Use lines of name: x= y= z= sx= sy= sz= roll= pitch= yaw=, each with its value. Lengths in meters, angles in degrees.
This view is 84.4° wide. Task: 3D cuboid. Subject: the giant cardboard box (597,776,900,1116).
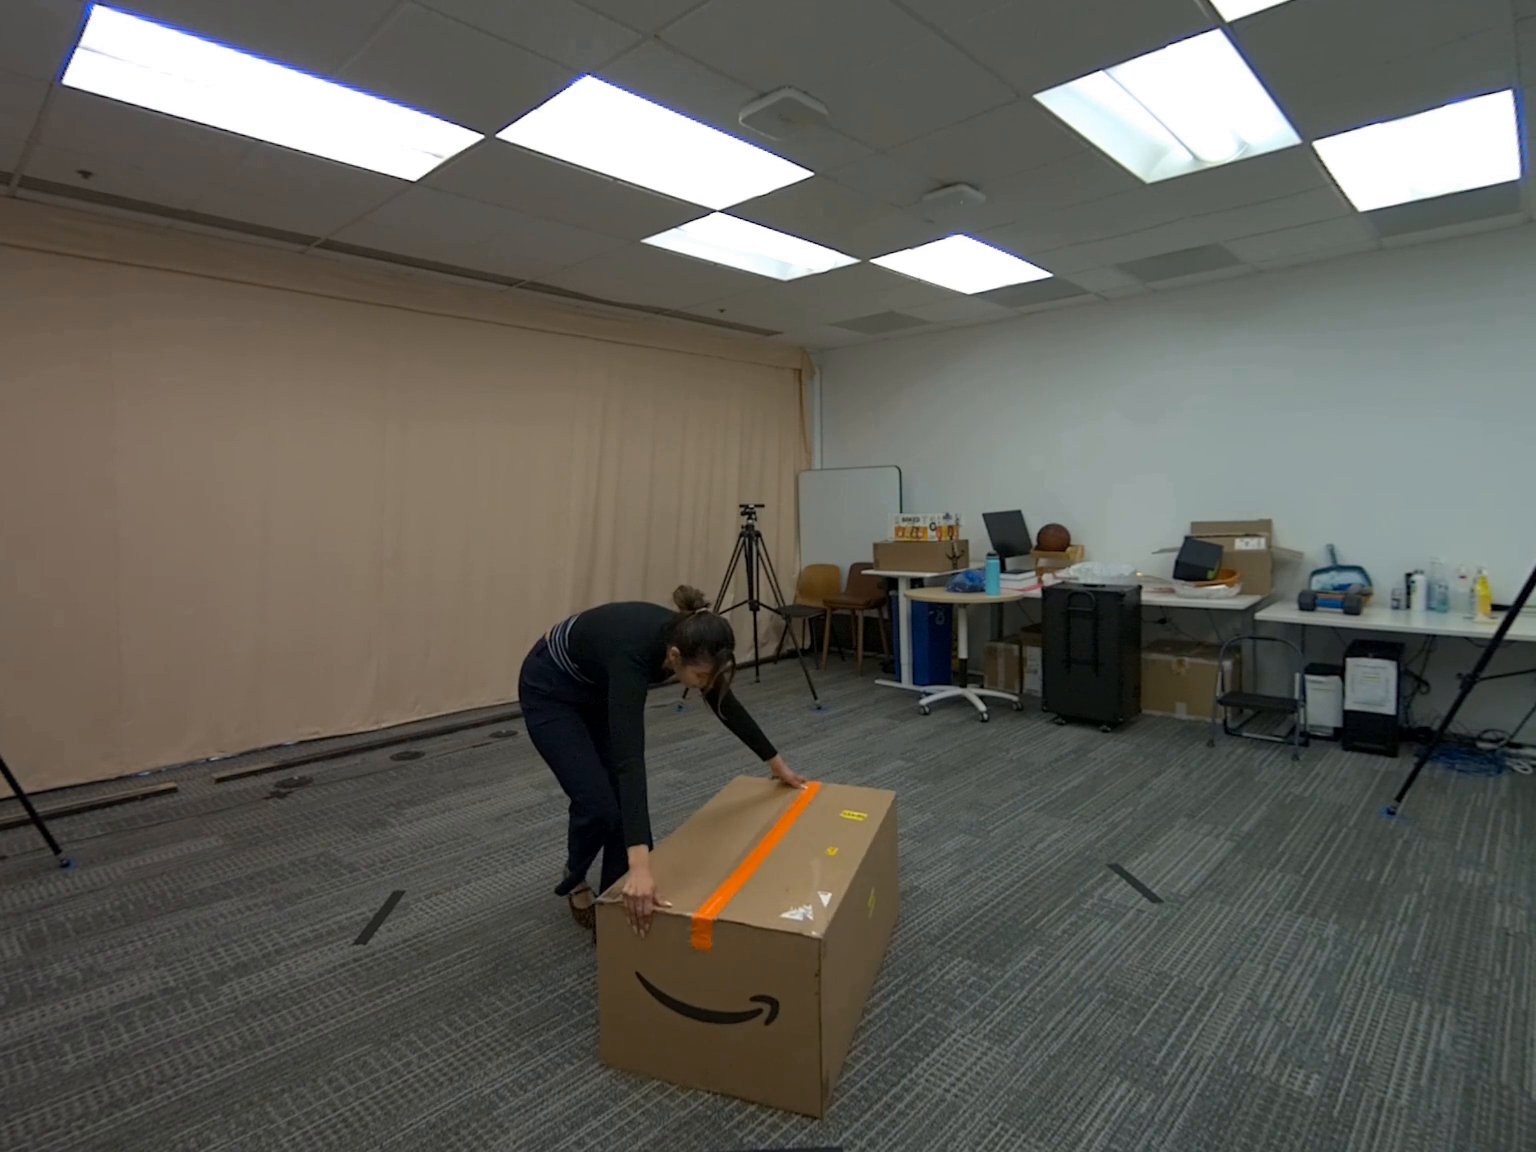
giant cardboard box: x=0.009 y=0.966 z=2.463 sx=0.590 sy=0.425 sz=1.006 roll=0 pitch=5 yaw=20
